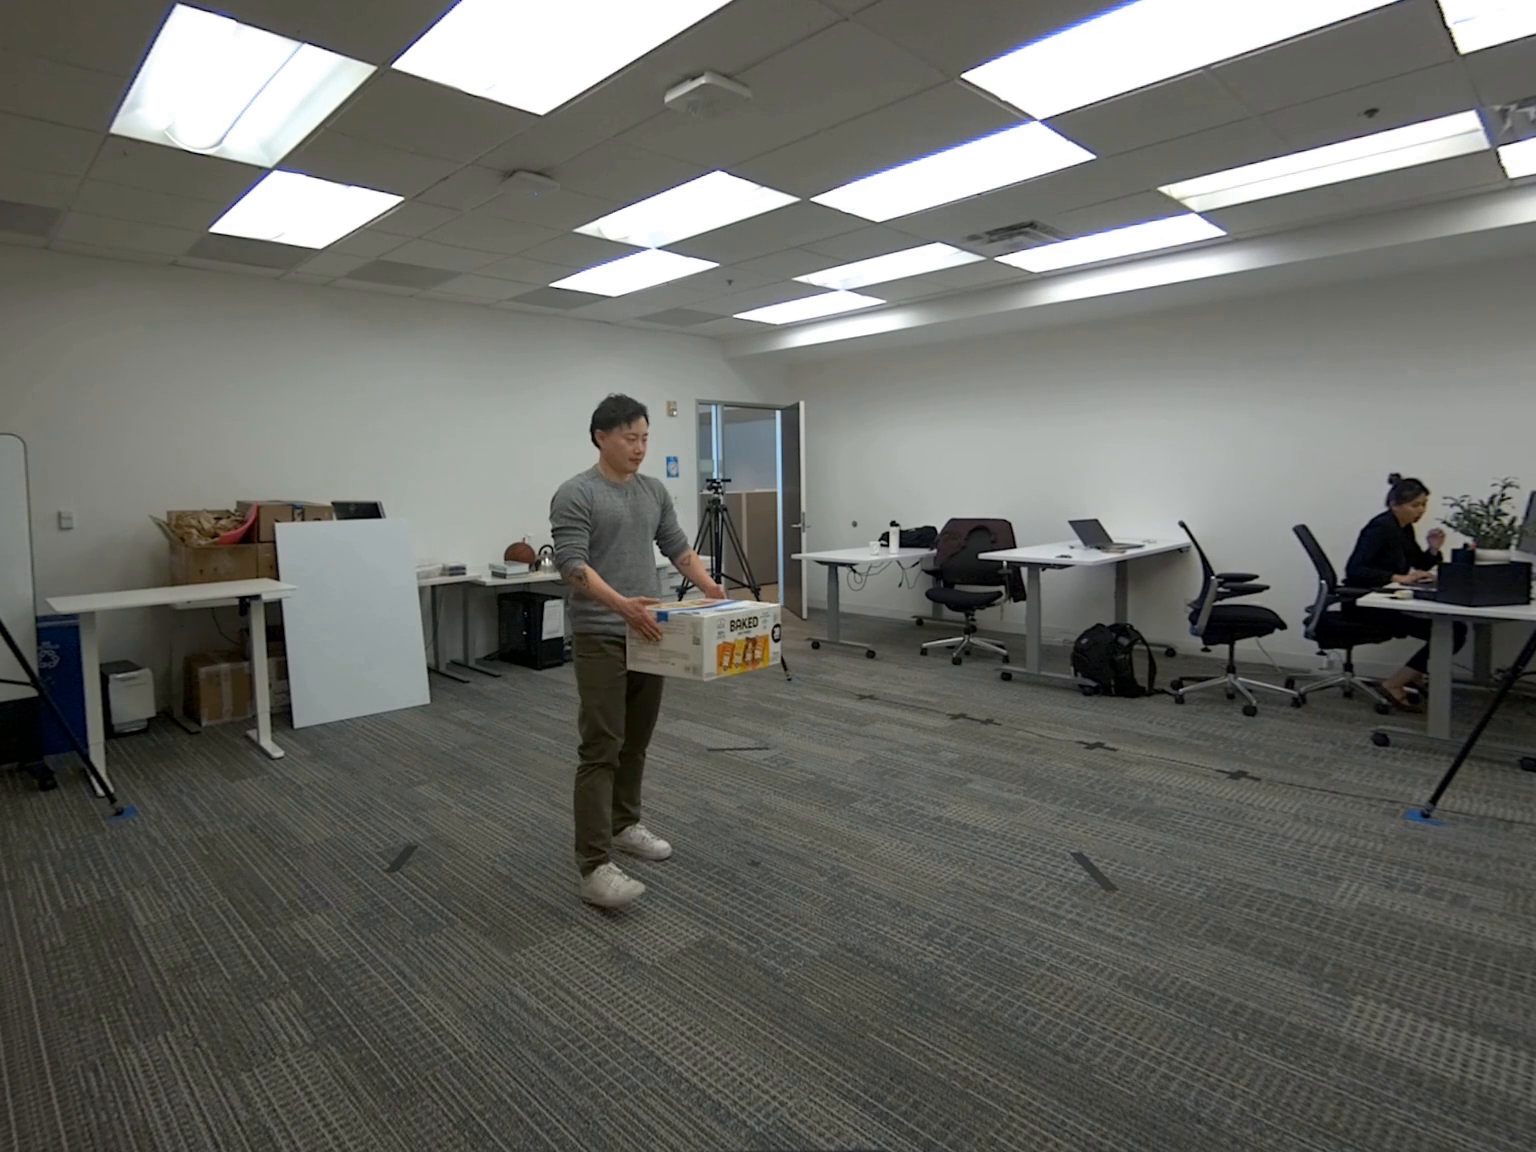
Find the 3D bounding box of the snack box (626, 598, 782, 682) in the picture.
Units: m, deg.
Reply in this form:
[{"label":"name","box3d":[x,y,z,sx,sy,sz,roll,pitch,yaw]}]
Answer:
[{"label":"snack box","box3d":[-0.210,0.197,2.844,0.350,0.205,0.394,2,4,38]}]
